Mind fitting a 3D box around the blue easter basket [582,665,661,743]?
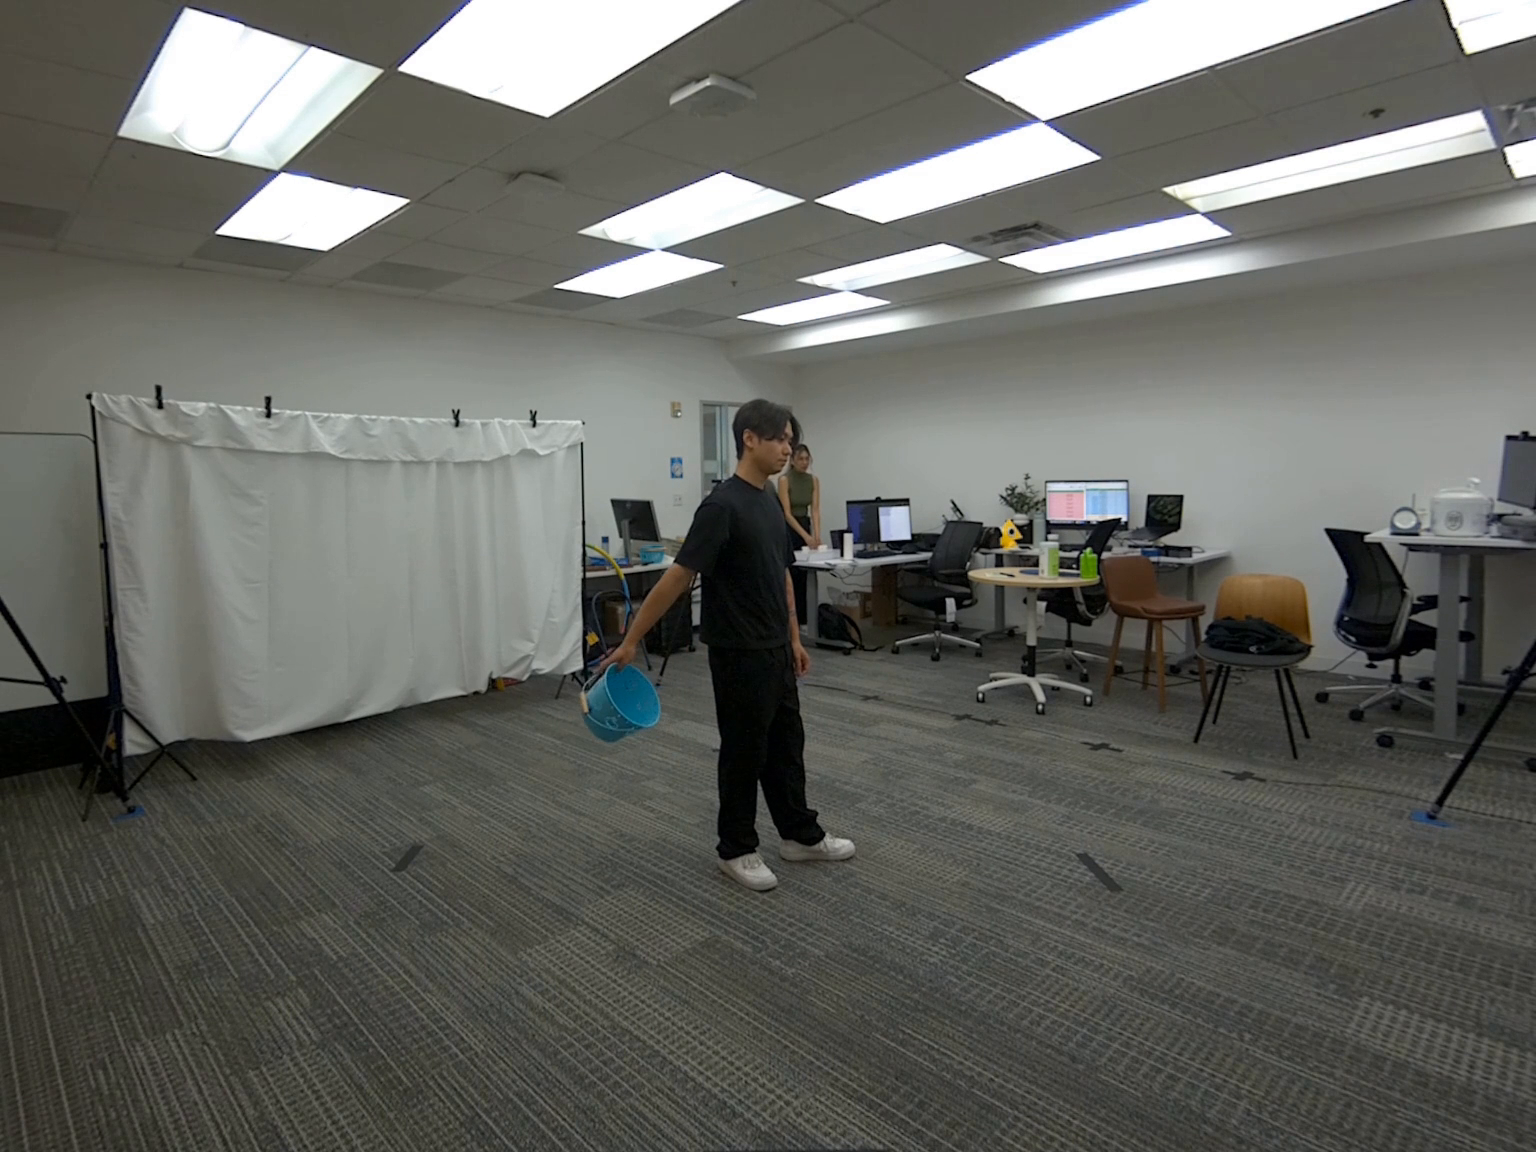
[{"bbox_3d":[-0.465,0.417,2.728,0.156,0.247,0.239,-37,-10,22],"label":"blue easter basket"}]
